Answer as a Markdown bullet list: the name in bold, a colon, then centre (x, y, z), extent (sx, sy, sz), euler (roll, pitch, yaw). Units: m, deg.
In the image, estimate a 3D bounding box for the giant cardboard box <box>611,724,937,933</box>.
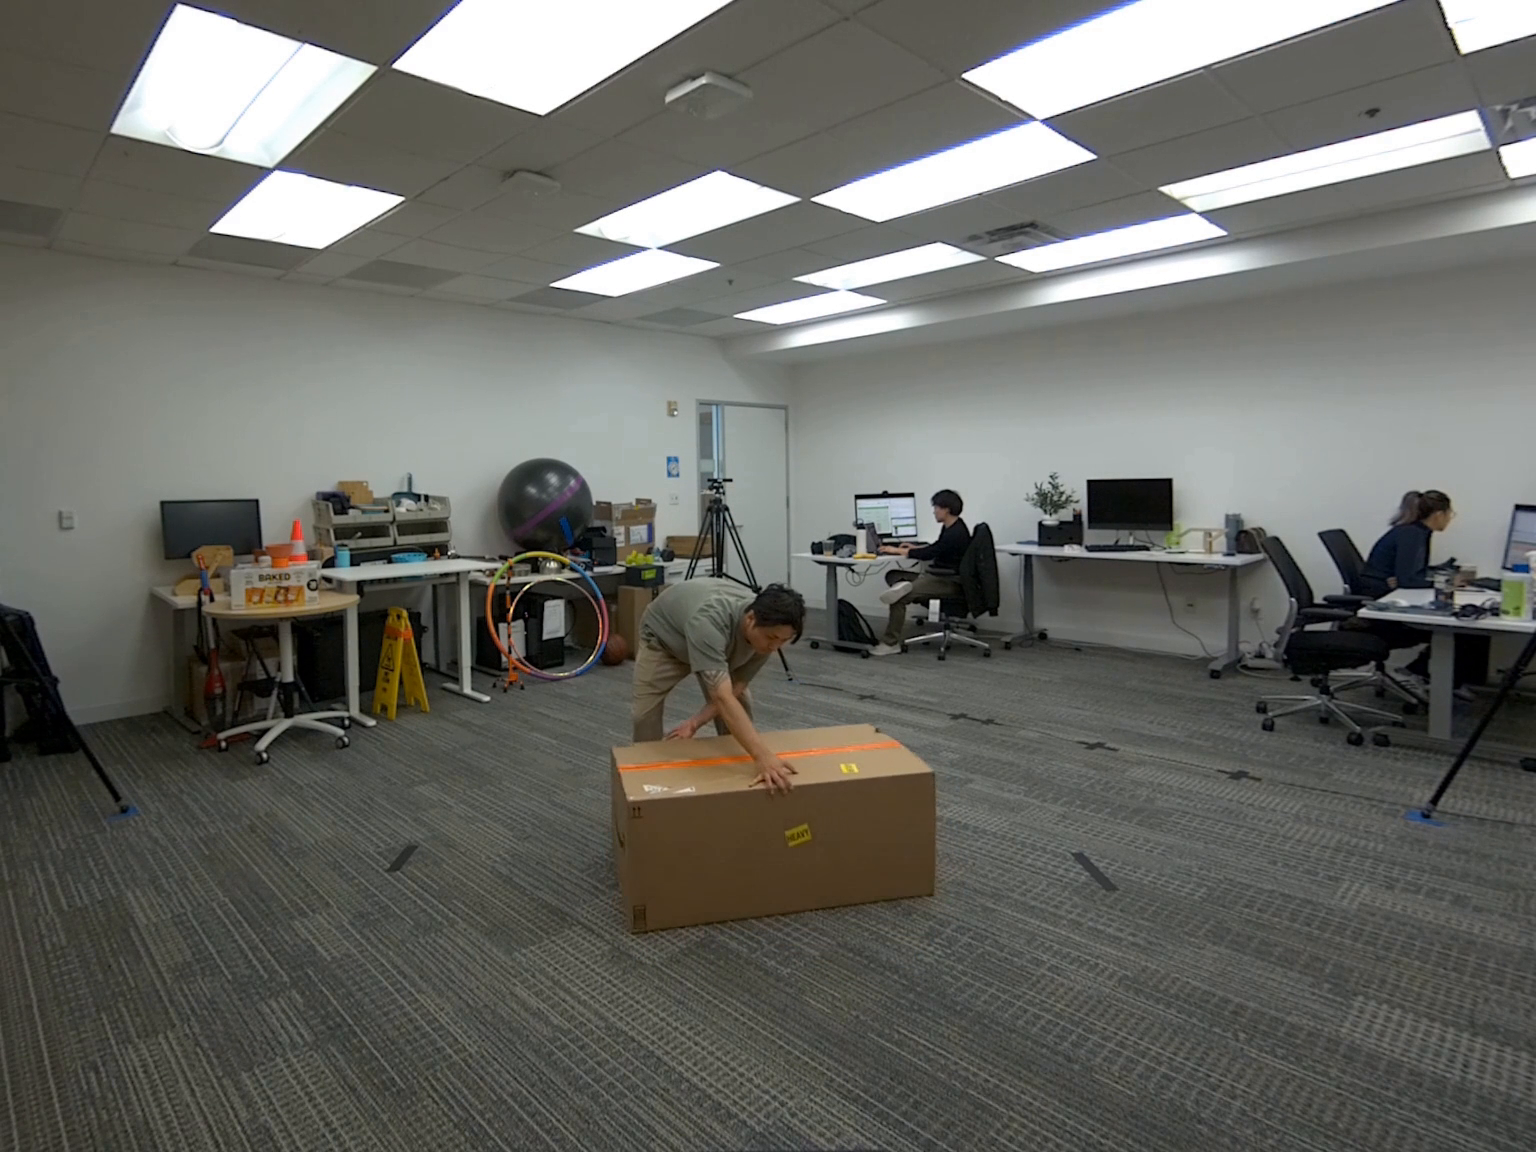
- **giant cardboard box**: centre (-0.010, 0.838, 2.998), extent (1.013, 0.424, 0.587), euler (-3, 5, -13)
